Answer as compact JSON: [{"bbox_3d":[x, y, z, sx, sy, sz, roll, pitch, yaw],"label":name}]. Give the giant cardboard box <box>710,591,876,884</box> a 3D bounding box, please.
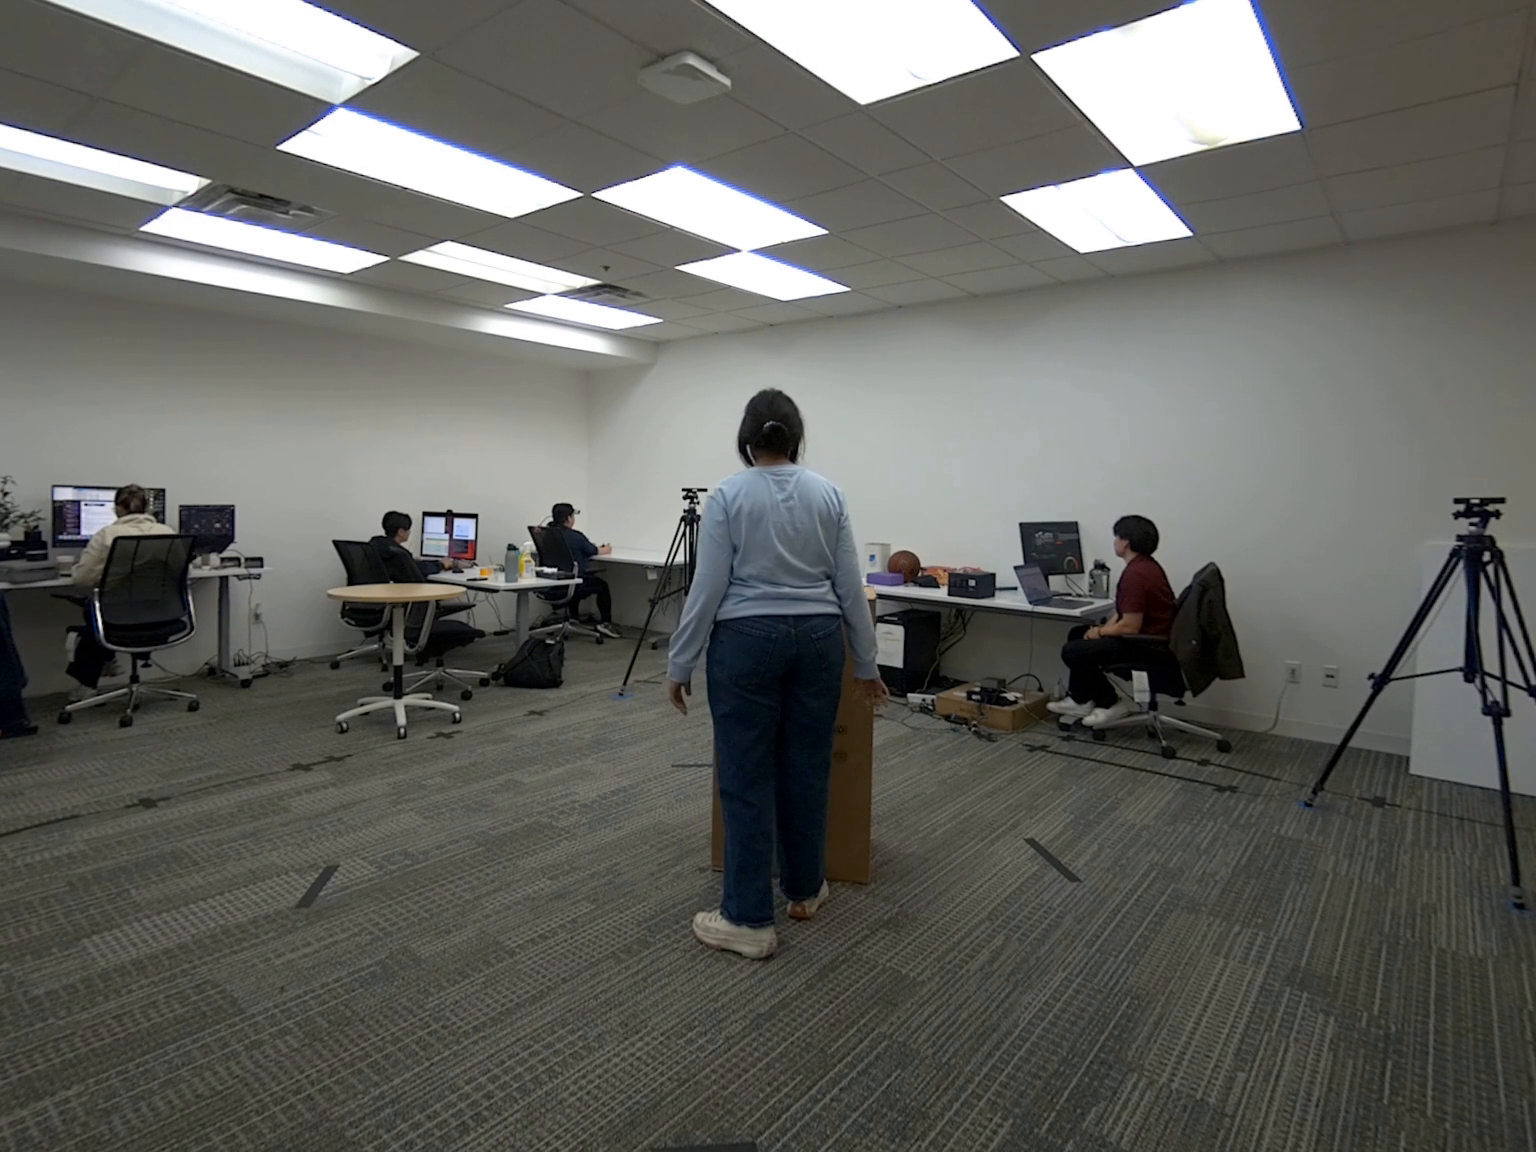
[{"bbox_3d":[0.099,0.552,3.242,0.583,1.023,0.424,2,3,7],"label":"giant cardboard box"}]
